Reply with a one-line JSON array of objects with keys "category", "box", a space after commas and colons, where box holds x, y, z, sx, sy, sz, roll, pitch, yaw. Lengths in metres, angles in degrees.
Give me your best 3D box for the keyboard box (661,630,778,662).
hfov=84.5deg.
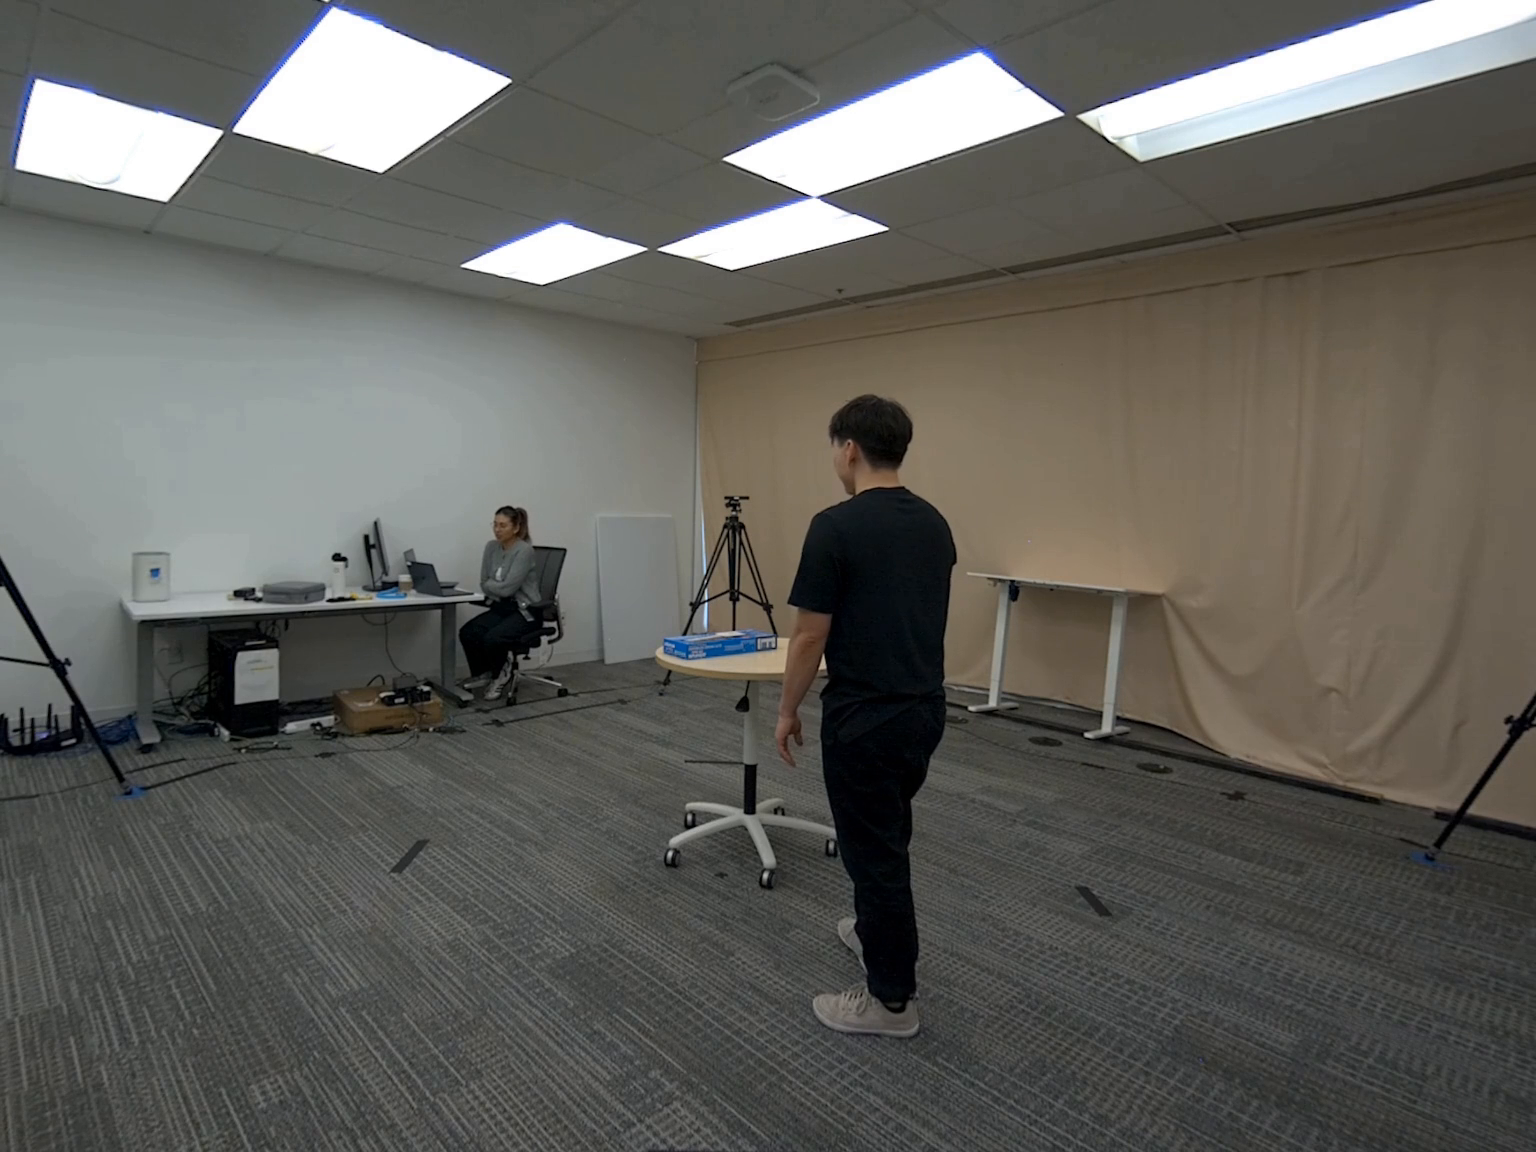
[{"category": "keyboard box", "box": [-0.191, 0.270, 3.342, 0.427, 0.059, 0.180, -3, 6, -38]}]
